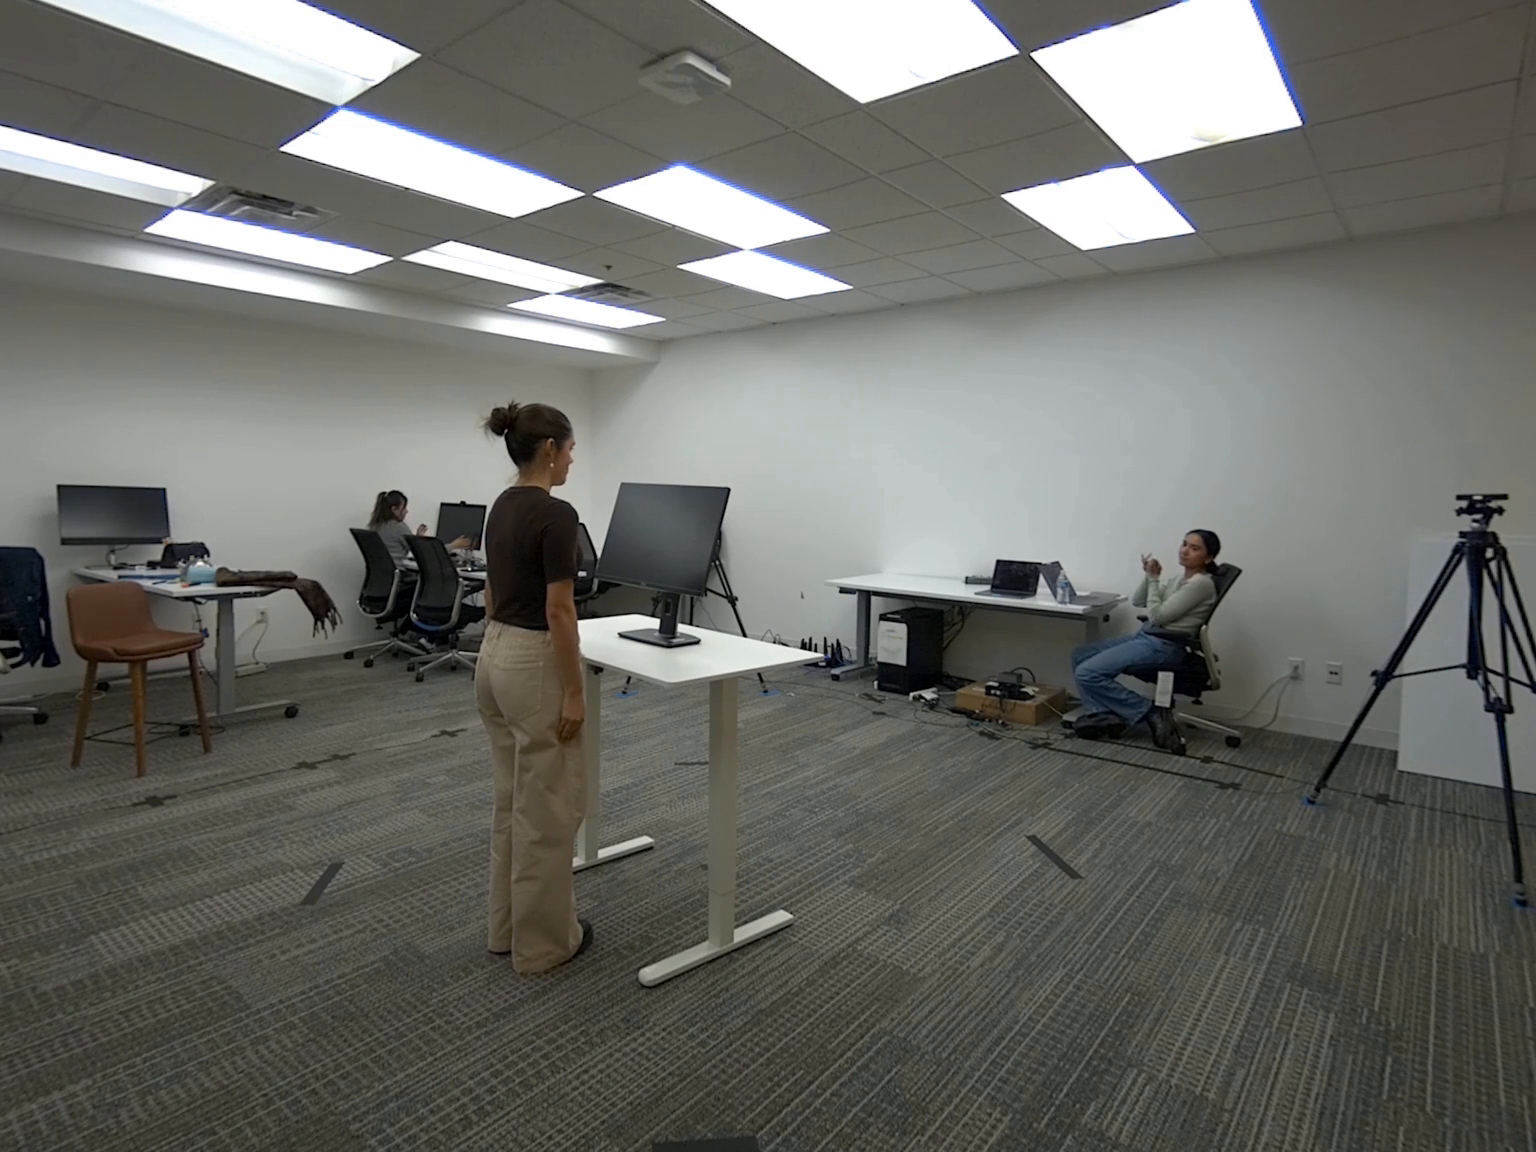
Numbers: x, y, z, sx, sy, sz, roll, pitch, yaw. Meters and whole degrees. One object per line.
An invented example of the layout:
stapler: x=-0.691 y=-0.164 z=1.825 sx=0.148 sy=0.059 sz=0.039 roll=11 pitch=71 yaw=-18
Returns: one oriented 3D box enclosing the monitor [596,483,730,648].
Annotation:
monitor: x=-0.359 y=-0.045 z=2.818 sx=0.558 sy=0.522 sz=0.181 roll=6 pitch=2 yaw=40
